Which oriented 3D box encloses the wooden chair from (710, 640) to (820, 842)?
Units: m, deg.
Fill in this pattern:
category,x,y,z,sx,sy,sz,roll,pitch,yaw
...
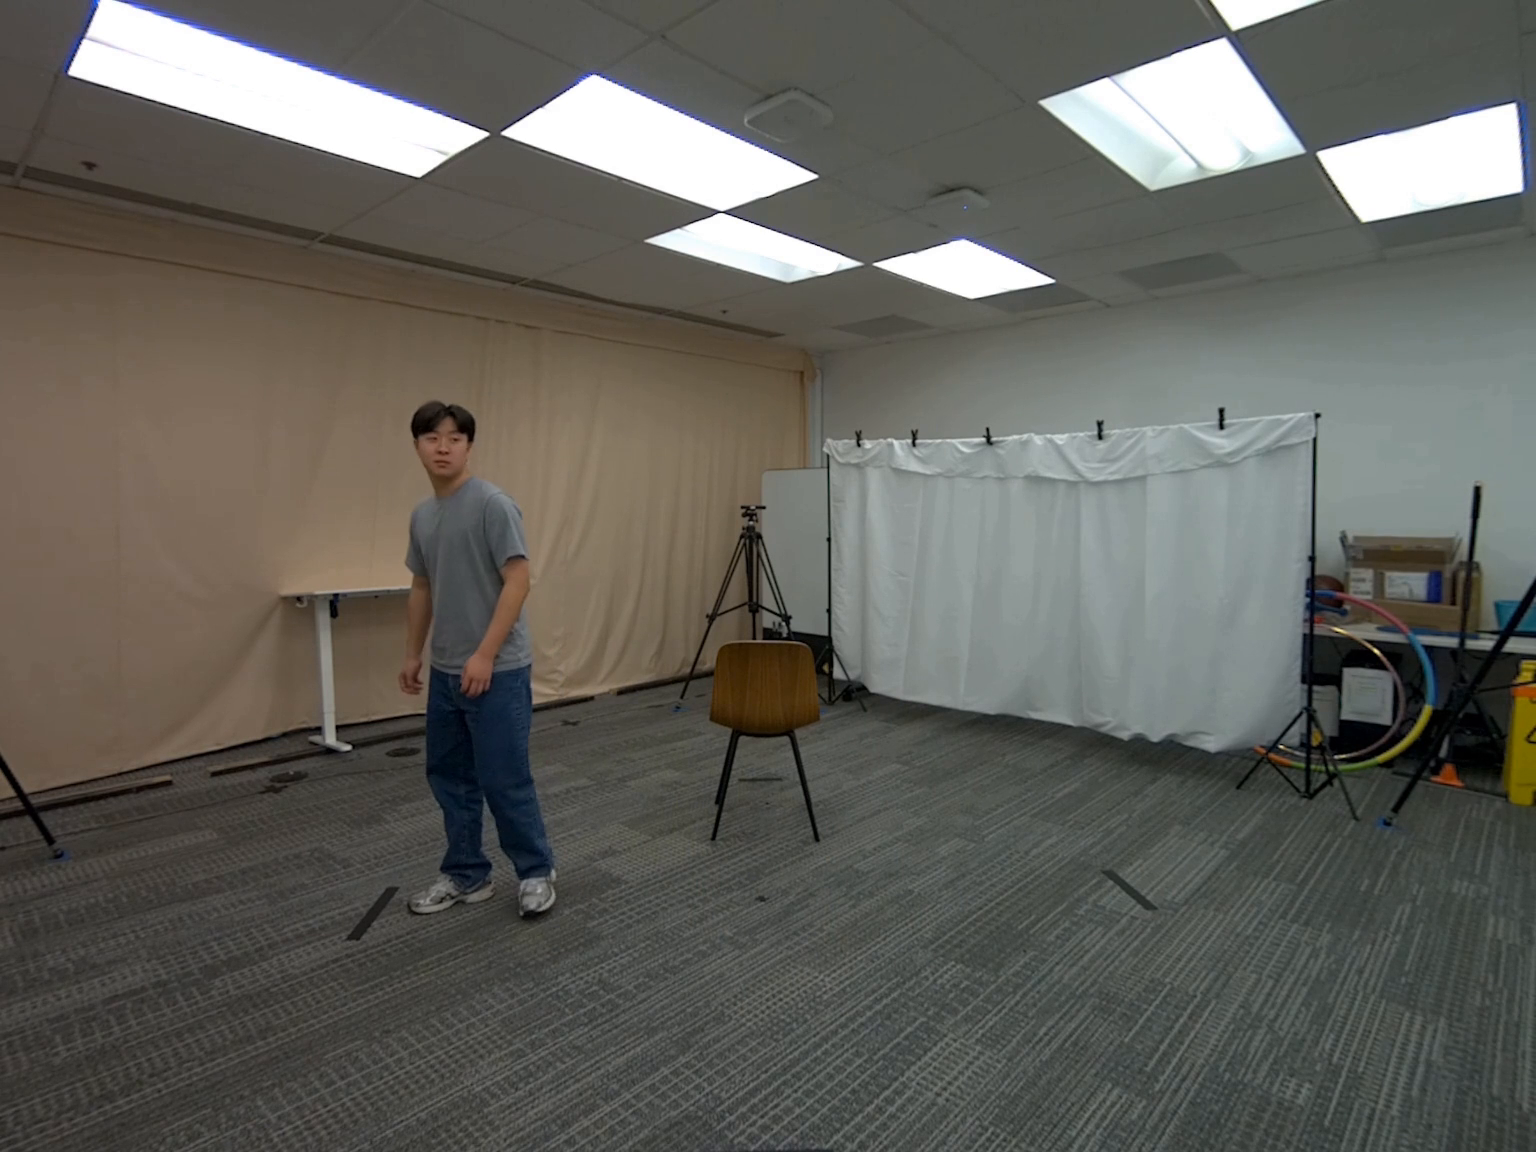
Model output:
category,x,y,z,sx,sy,sz,roll,pitch,yaw
wooden chair,-0.027,0.660,3.697,0.478,0.874,0.525,0,6,-1
